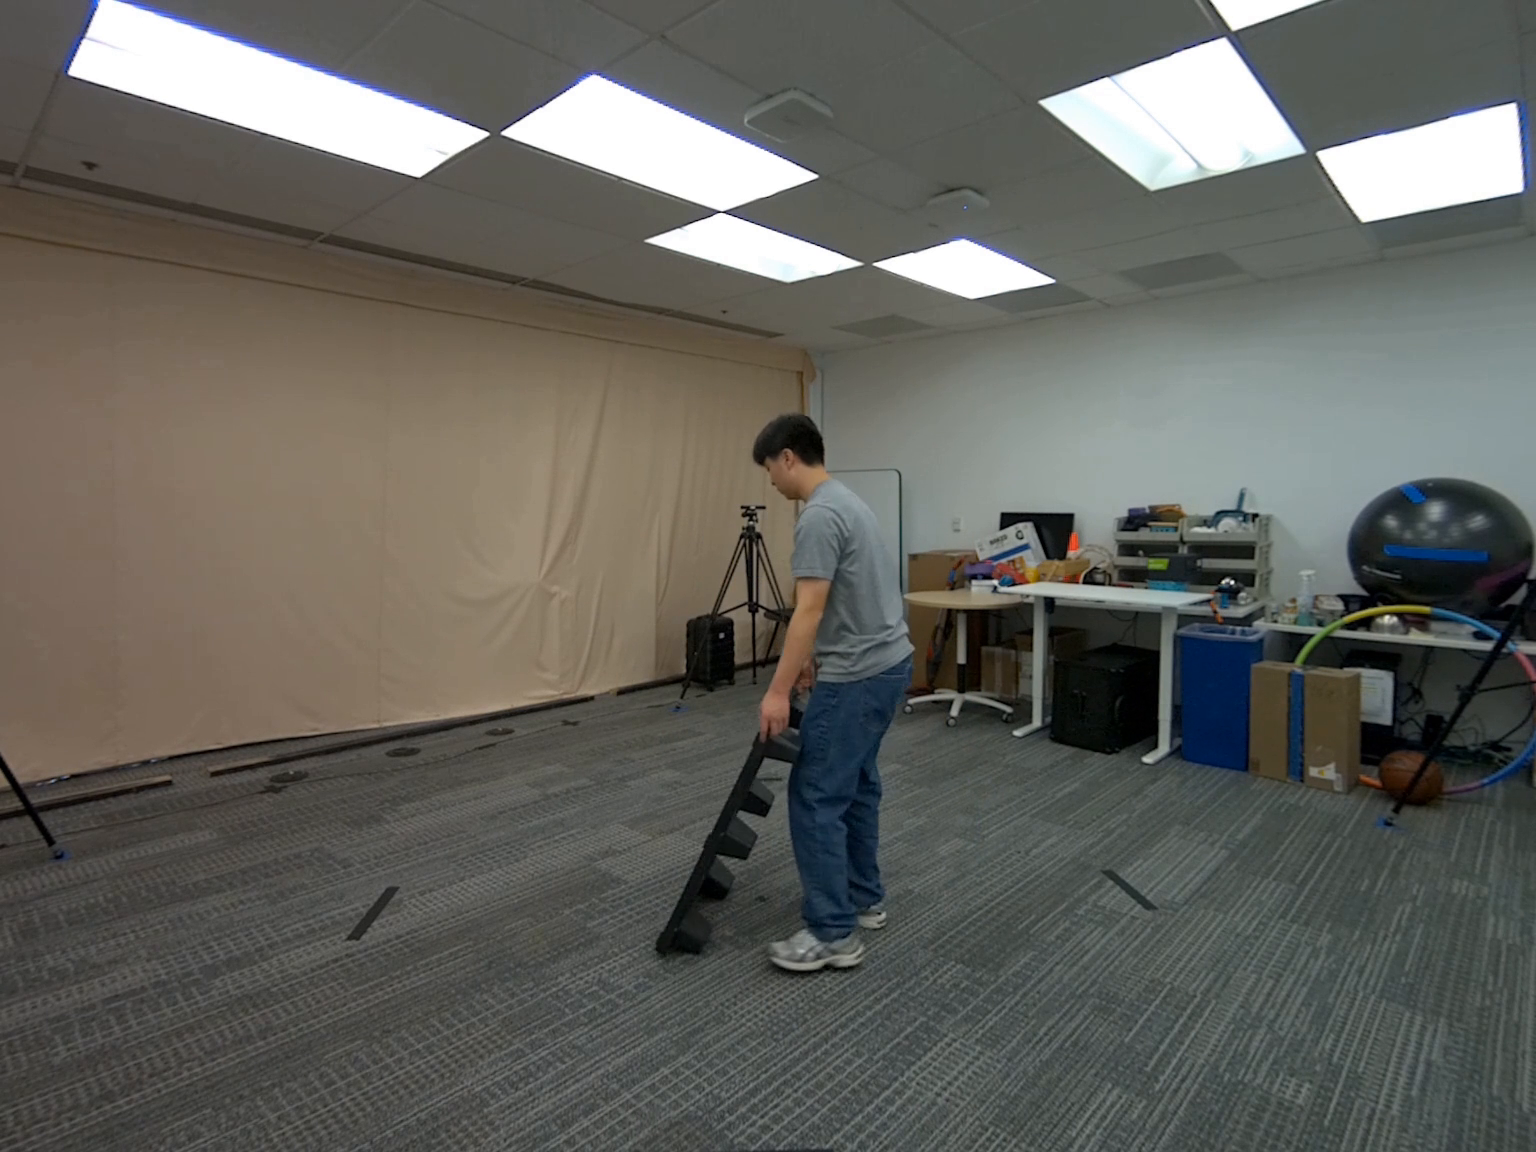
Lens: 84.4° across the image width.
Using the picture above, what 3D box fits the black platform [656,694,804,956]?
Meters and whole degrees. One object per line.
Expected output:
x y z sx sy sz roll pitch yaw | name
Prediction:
-0.082 0.802 2.804 0.145 0.805 0.599 25 8 6 | black platform
